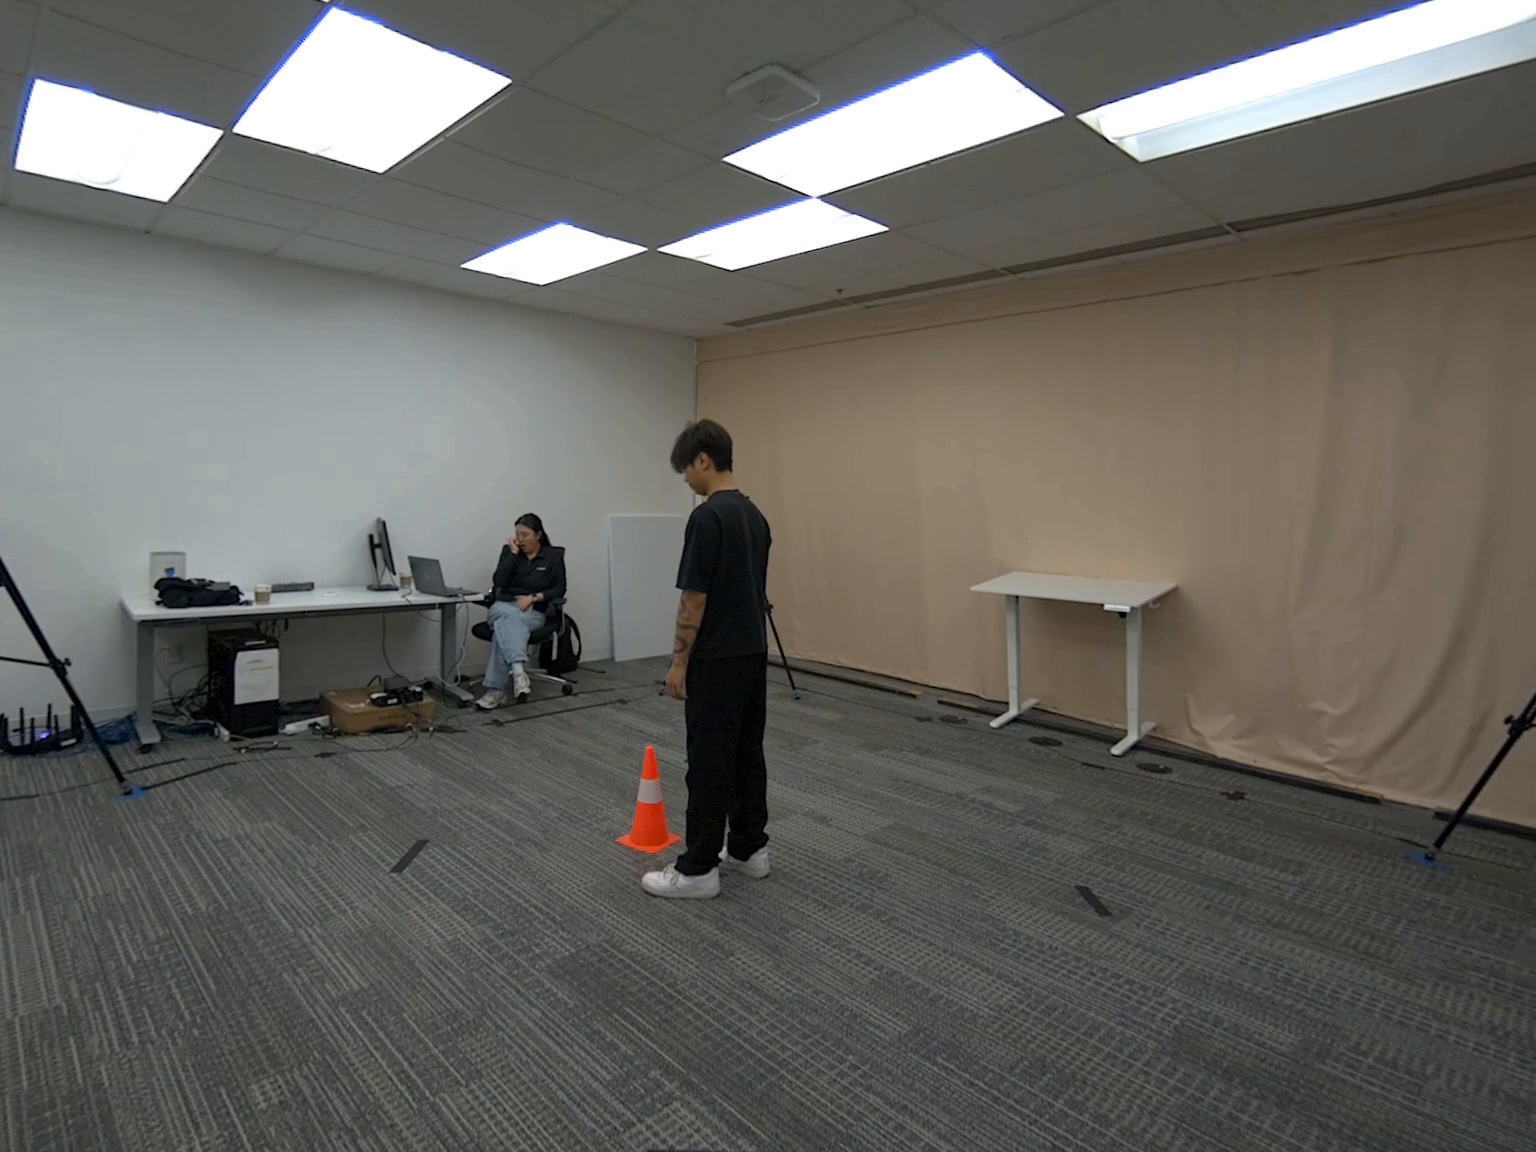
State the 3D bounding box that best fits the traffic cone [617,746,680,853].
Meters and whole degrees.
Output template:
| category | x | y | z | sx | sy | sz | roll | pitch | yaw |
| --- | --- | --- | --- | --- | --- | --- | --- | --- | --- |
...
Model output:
| category | x | y | z | sx | sy | sz | roll | pitch | yaw |
| --- | --- | --- | --- | --- | --- | --- | --- | --- | --- |
| traffic cone | -0.491 | 0.884 | 3.406 | 0.210 | 0.383 | 0.199 | 3 | 3 | 38 |
